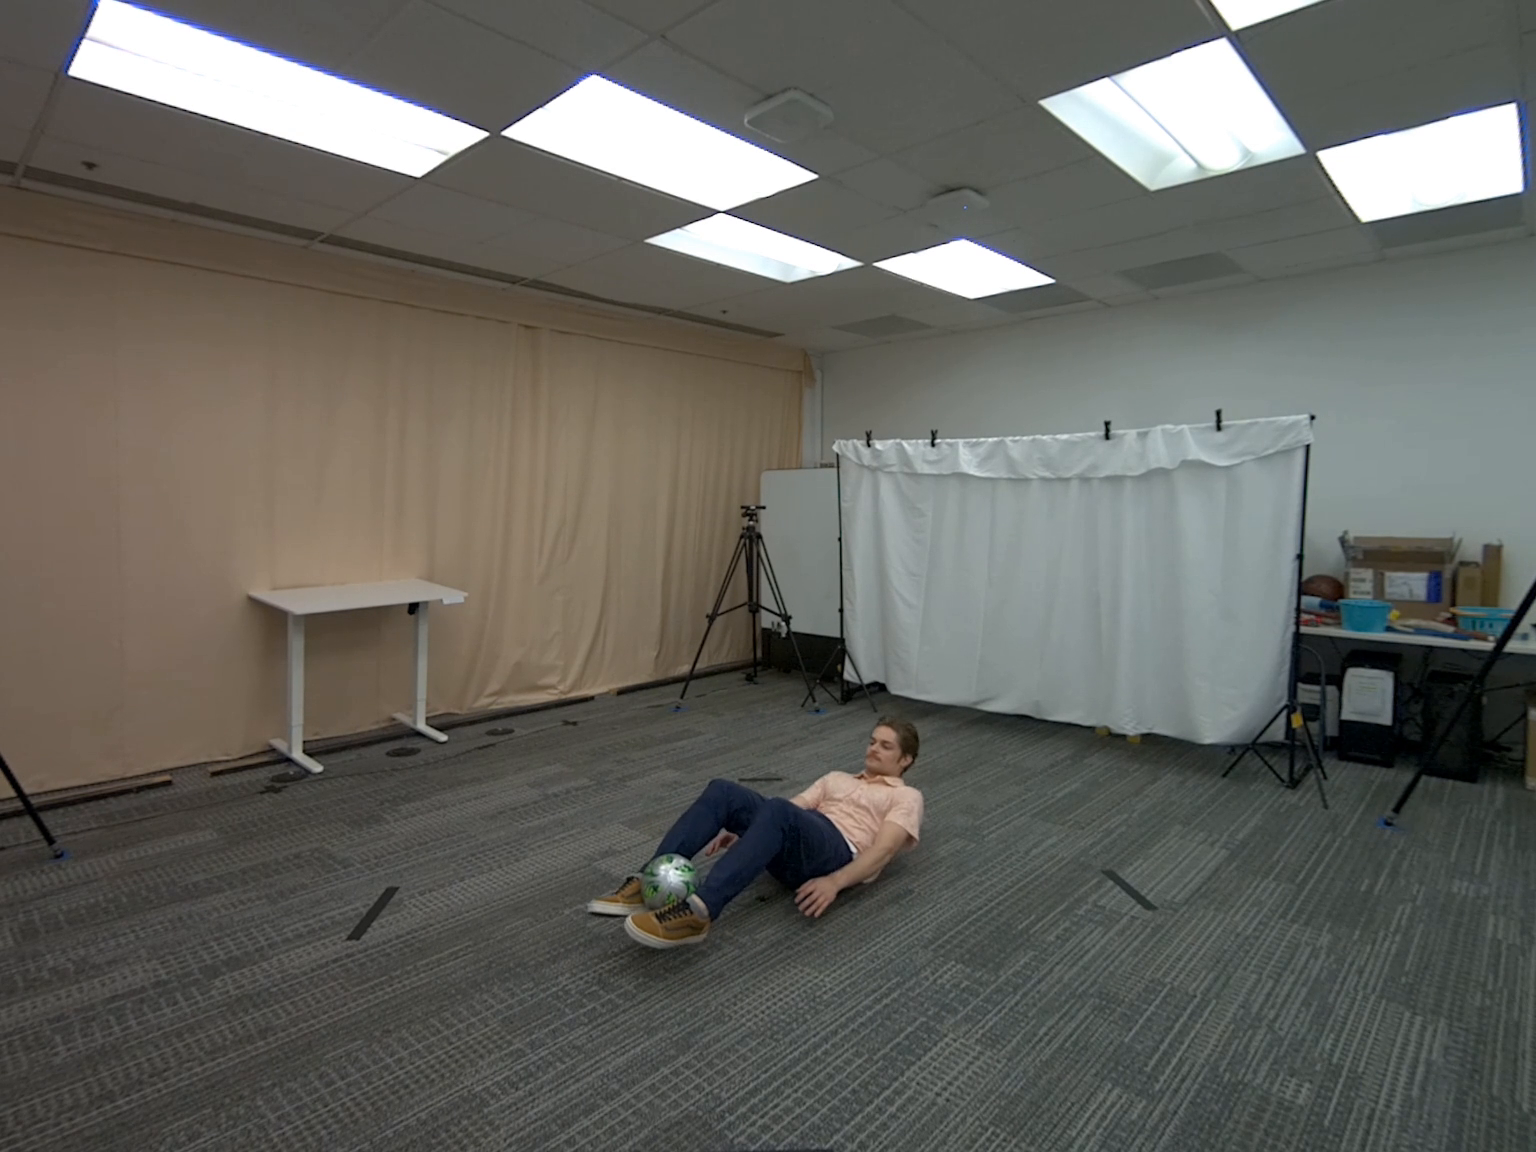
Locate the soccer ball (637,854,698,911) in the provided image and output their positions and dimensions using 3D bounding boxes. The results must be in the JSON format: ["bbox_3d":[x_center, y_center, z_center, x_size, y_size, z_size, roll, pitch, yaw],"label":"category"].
[{"bbox_3d":[-0.300,0.968,2.631,0.187,0.187,0.188,0,4,-2],"label":"soccer ball"}]
